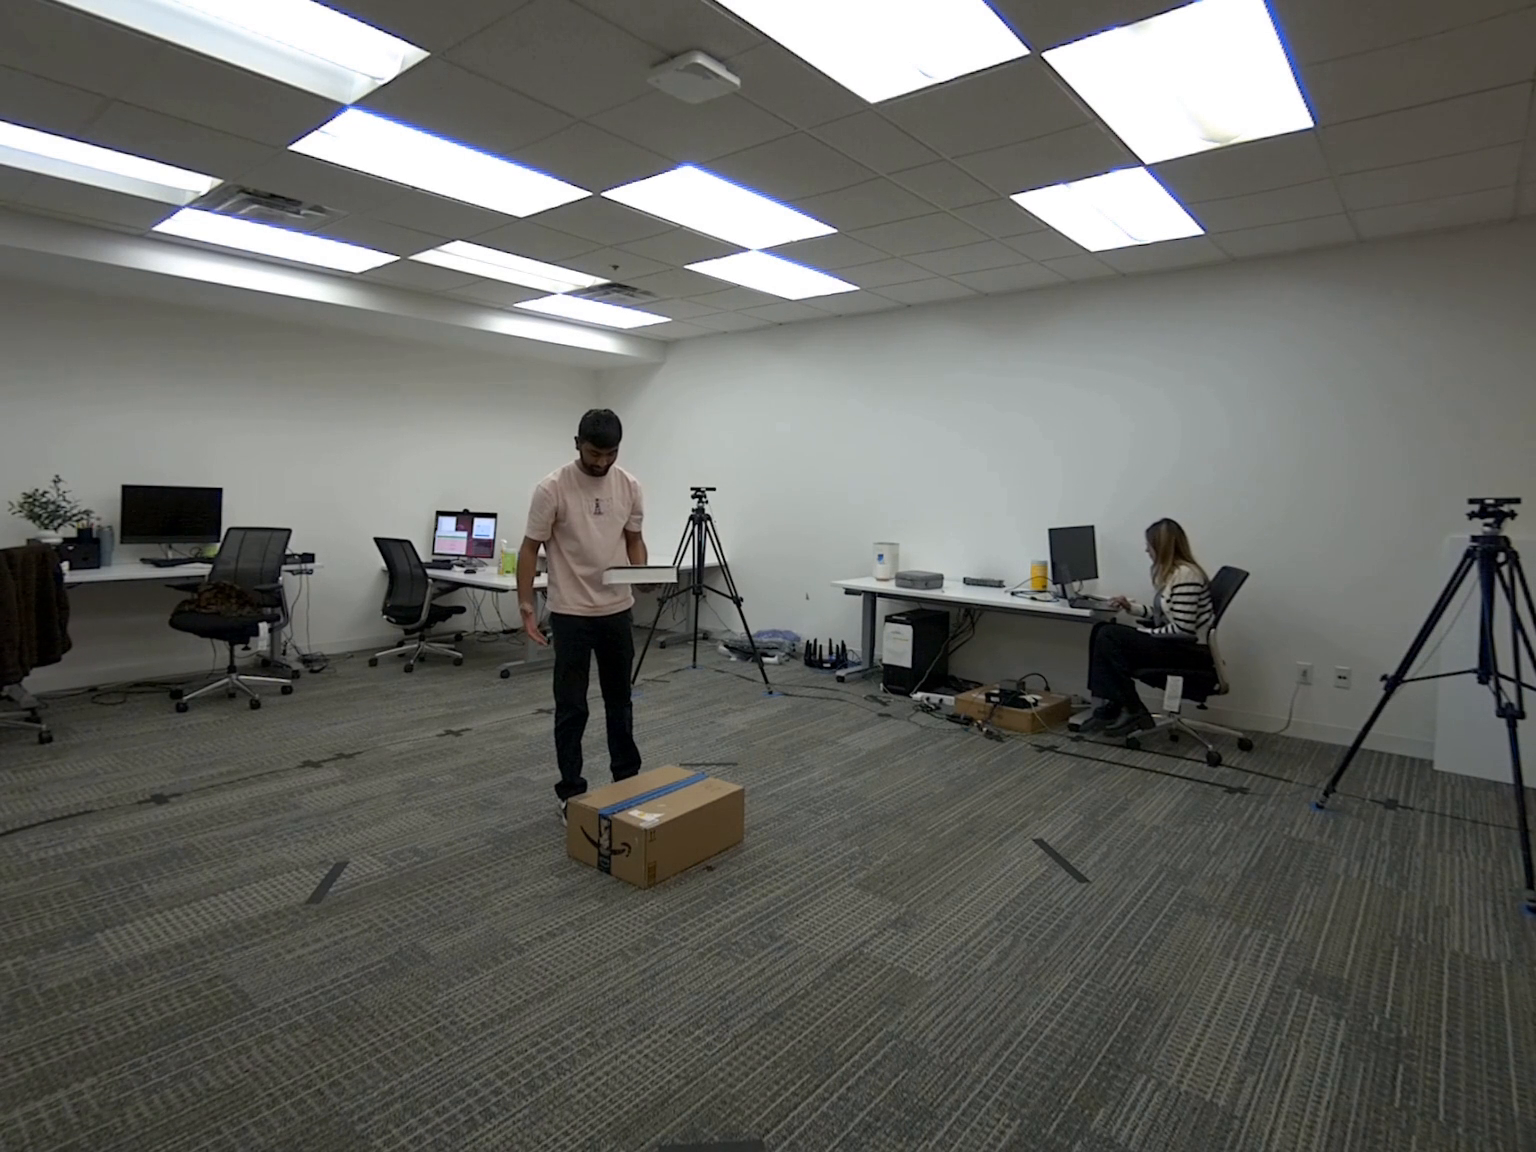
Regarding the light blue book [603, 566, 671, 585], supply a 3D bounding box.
[{"bbox_3d":[-0.541,-0.003,3.327,0.255,0.059,0.195,-1,-3,-21],"label":"light blue book"}]
